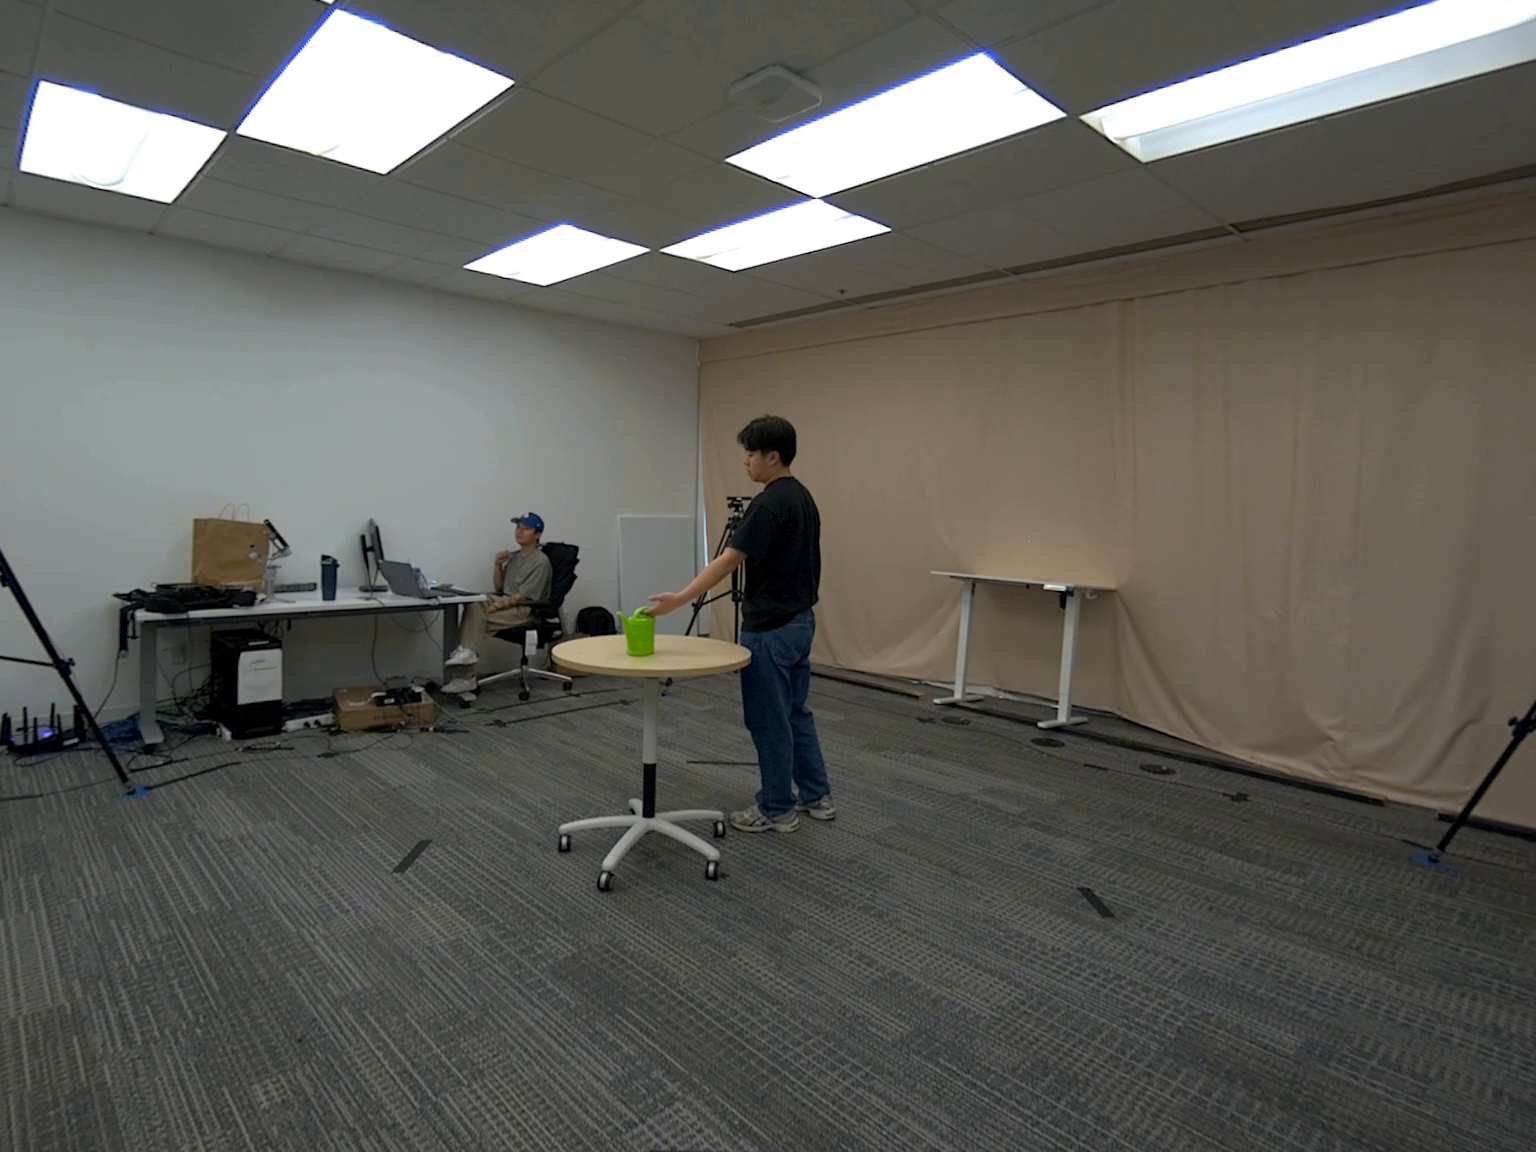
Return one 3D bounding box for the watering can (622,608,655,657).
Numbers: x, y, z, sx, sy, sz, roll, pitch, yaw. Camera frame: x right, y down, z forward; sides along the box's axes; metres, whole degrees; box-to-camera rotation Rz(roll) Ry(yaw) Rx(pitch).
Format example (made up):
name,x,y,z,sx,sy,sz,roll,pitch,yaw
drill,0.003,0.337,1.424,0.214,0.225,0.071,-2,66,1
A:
name,x,y,z,sx,sy,sz,roll,pitch,yaw
watering can,-0.504,0.210,3.146,0.100,0.177,0.272,2,0,30
